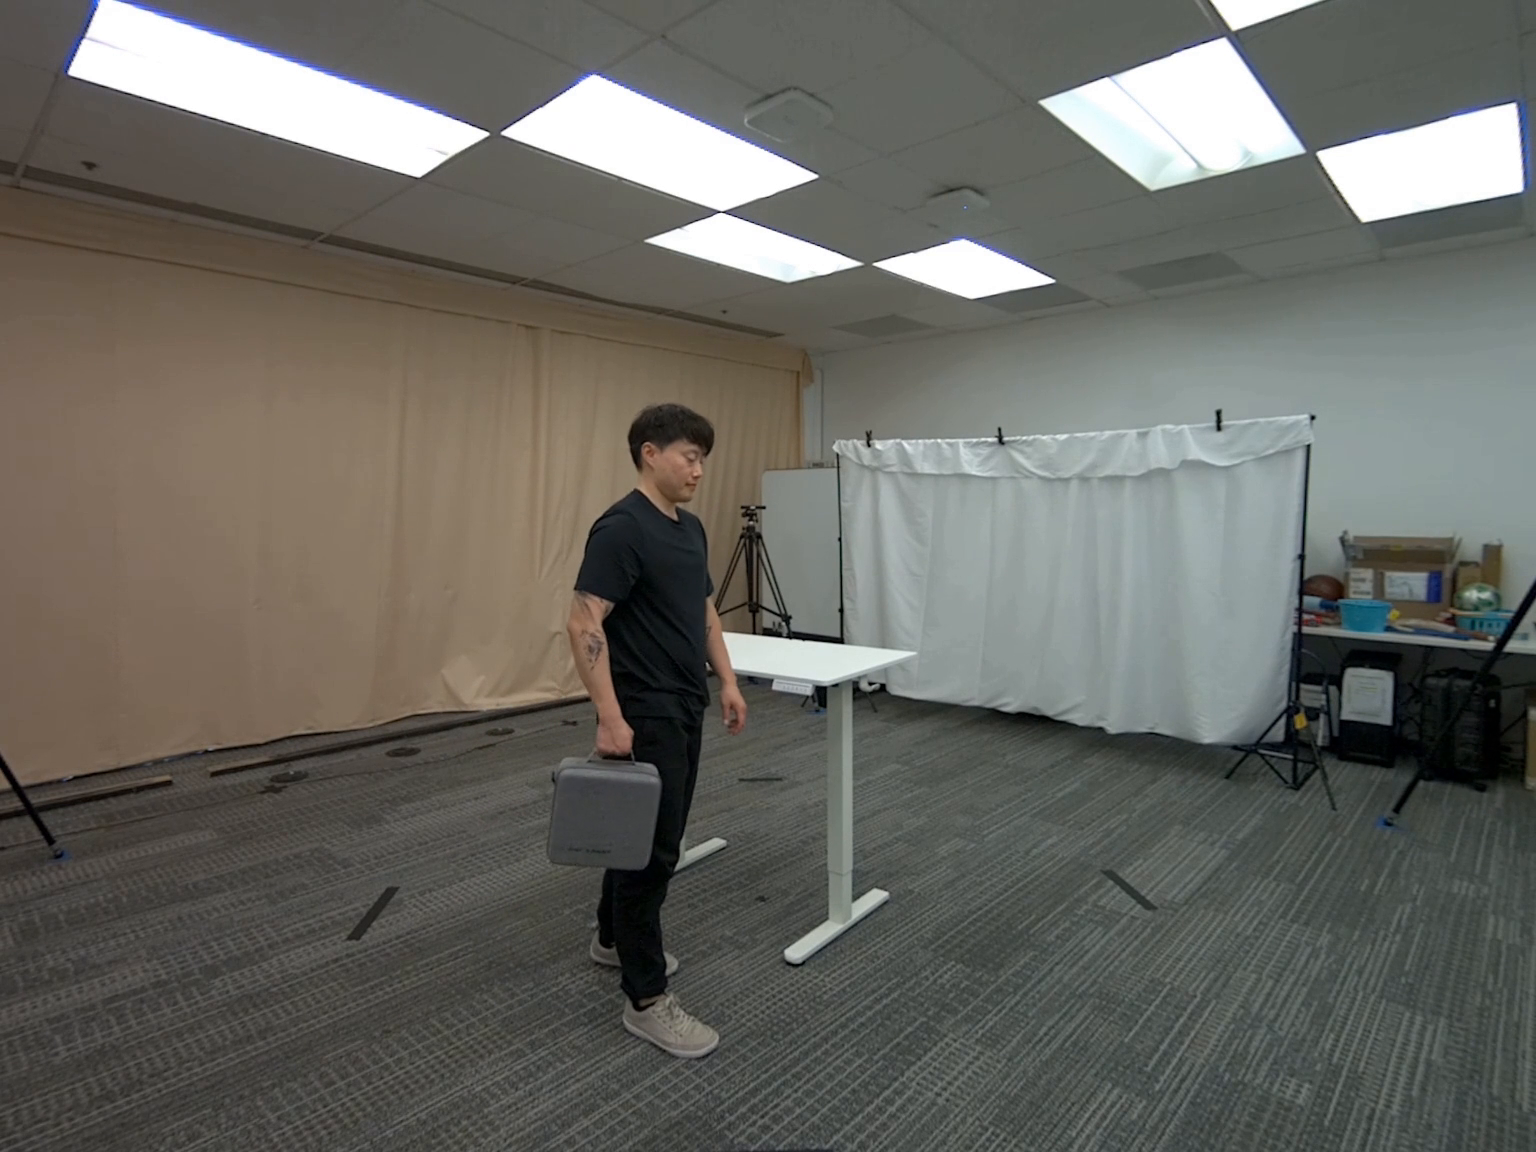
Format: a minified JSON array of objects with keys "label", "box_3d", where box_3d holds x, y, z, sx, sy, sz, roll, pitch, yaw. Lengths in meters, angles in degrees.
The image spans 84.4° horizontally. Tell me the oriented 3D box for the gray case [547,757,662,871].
[{"label":"gray case","box_3d":[-0.403,0.575,2.080,0.254,0.260,0.106,9,8,-8]}]
